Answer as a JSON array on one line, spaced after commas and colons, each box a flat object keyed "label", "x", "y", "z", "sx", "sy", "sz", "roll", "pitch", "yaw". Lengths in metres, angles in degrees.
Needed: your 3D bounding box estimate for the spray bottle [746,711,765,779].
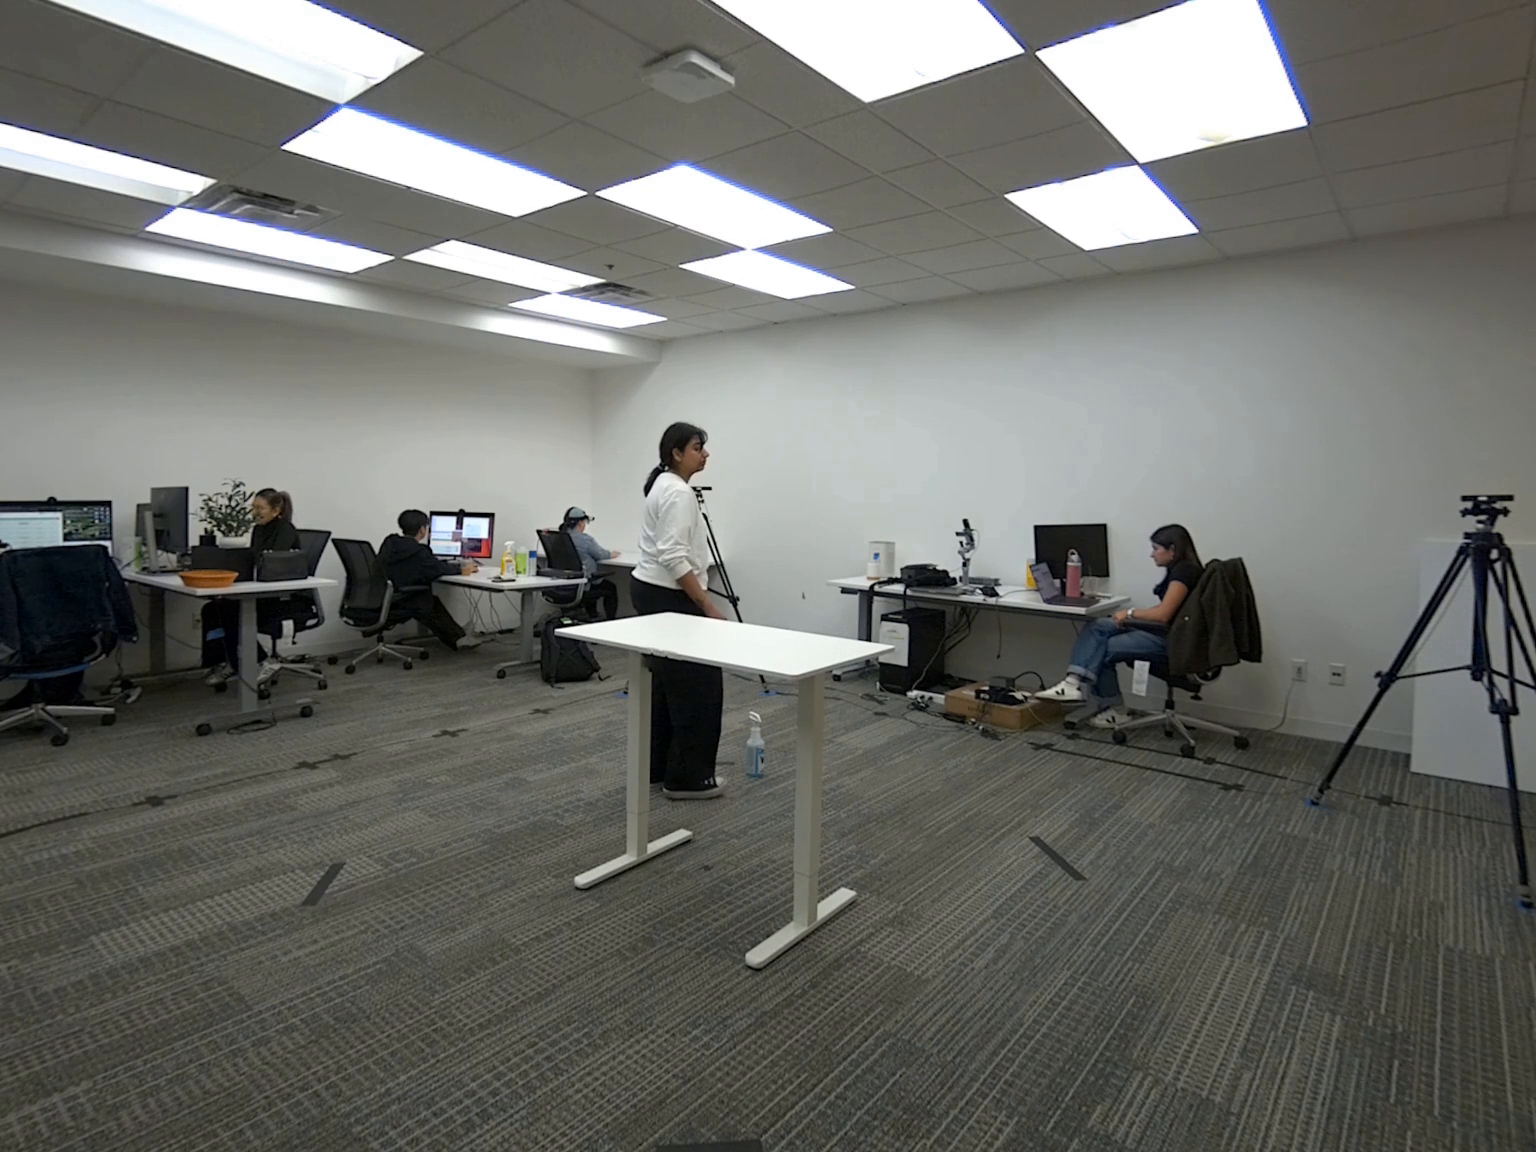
[{"label": "spray bottle", "x": -0.064, "y": 0.826, "z": 4.150, "sx": 0.086, "sy": 0.297, "sz": 0.091, "roll": 0, "pitch": 2, "yaw": -9}]
